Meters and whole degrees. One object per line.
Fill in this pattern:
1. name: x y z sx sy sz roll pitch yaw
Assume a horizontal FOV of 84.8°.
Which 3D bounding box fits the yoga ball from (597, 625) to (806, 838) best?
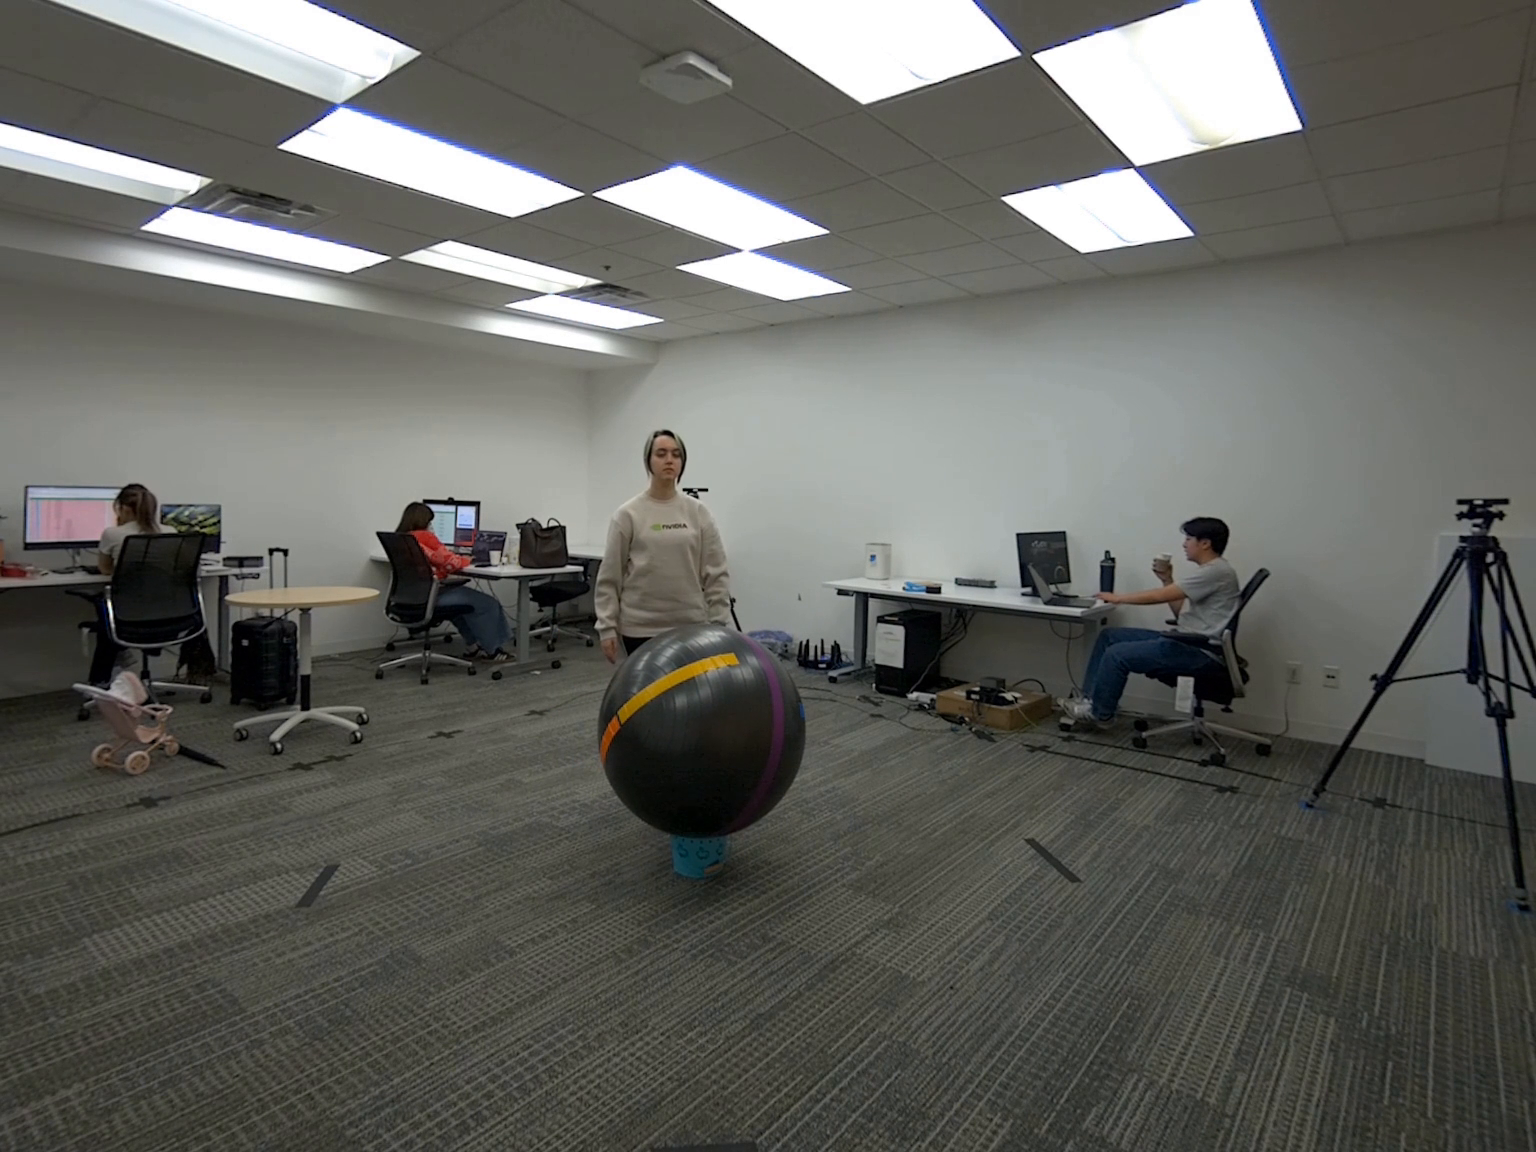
1. yoga ball: -0.254 0.553 3.106 0.757 0.756 0.762 1 4 -2
